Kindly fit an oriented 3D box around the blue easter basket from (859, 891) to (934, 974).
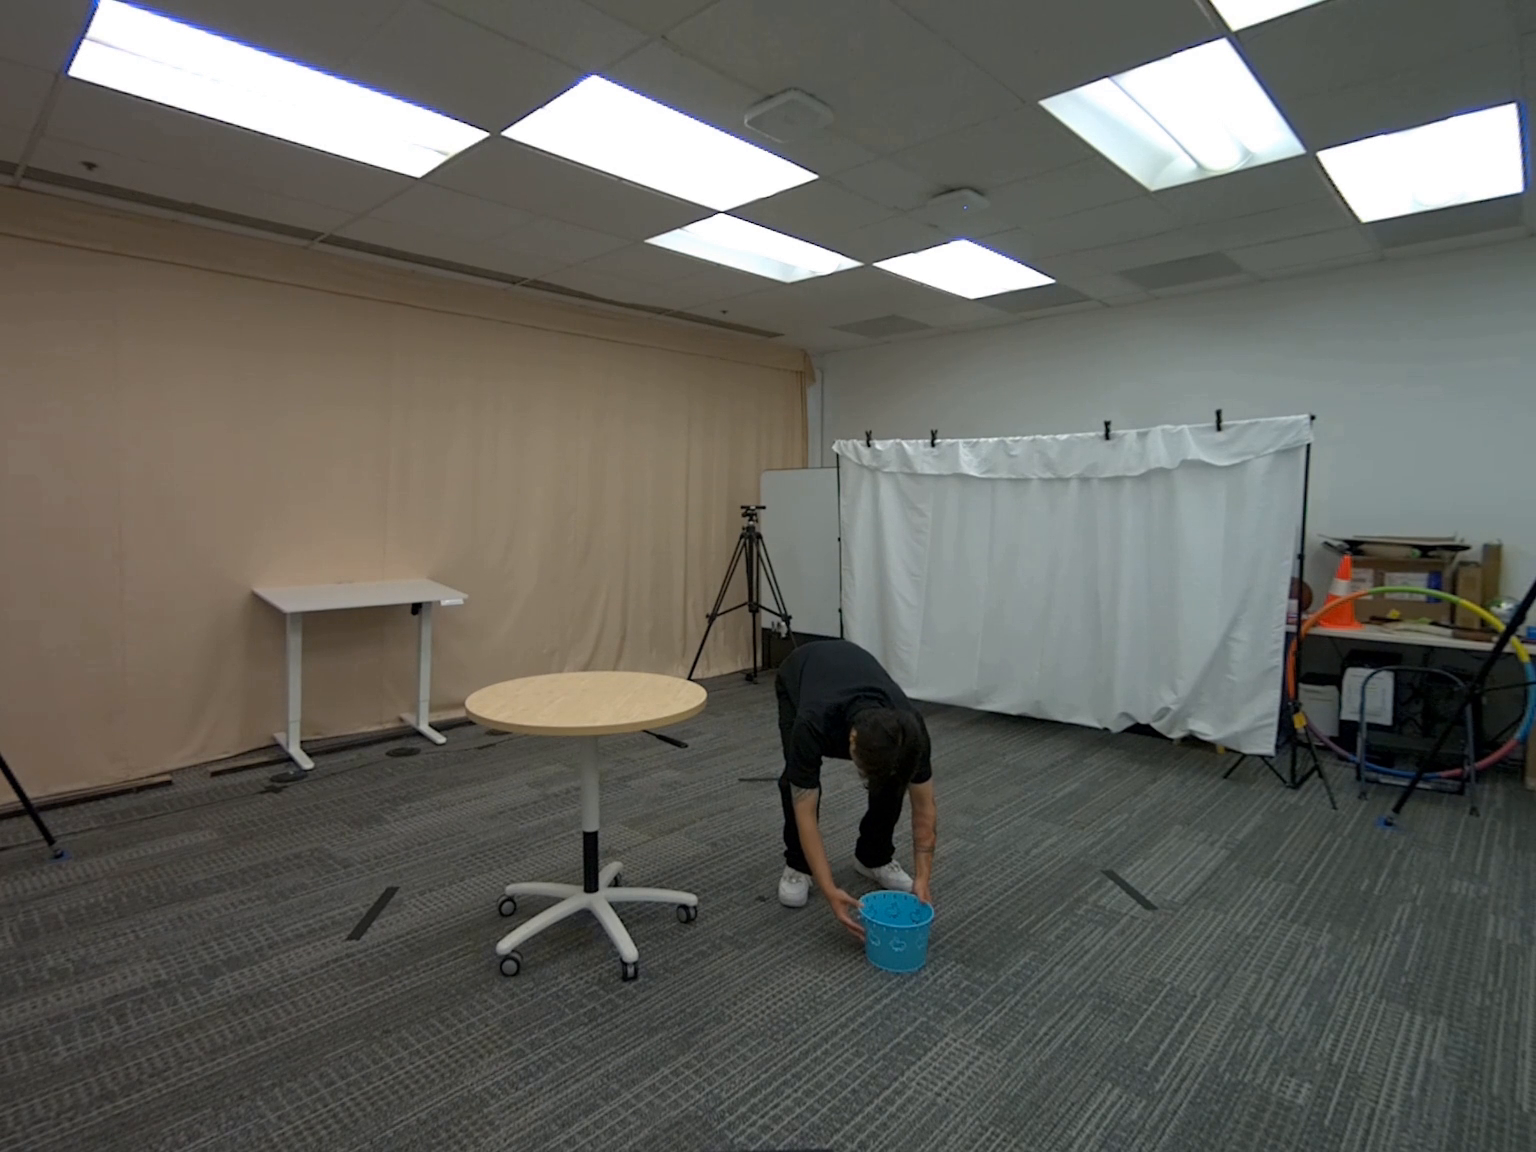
[{"bbox_3d":[0.401,1.101,2.595,0.243,0.155,0.245,0,6,-2],"label":"blue easter basket"}]
